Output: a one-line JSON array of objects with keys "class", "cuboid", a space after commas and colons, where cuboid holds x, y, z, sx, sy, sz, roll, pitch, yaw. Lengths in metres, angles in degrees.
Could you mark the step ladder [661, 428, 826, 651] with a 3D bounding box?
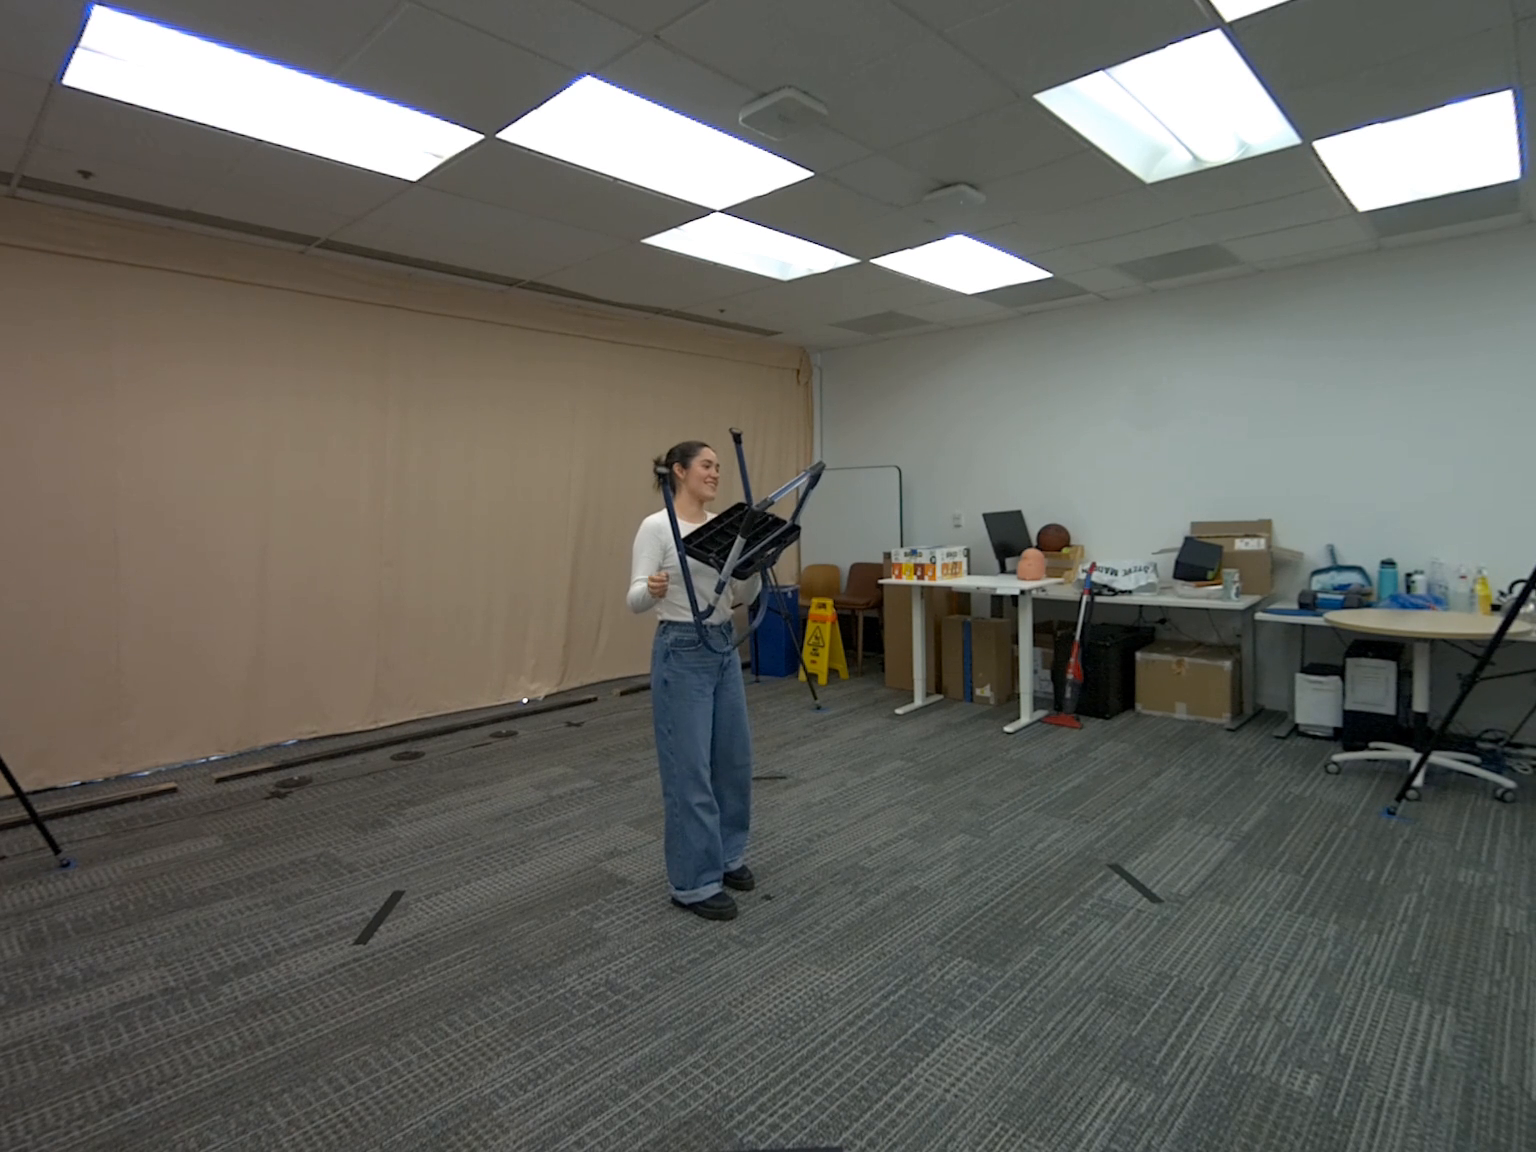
[{"class": "step ladder", "cuboid": [-0.101, -0.069, 2.625, 0.359, 0.598, 0.424, 24, 35, 24]}]
